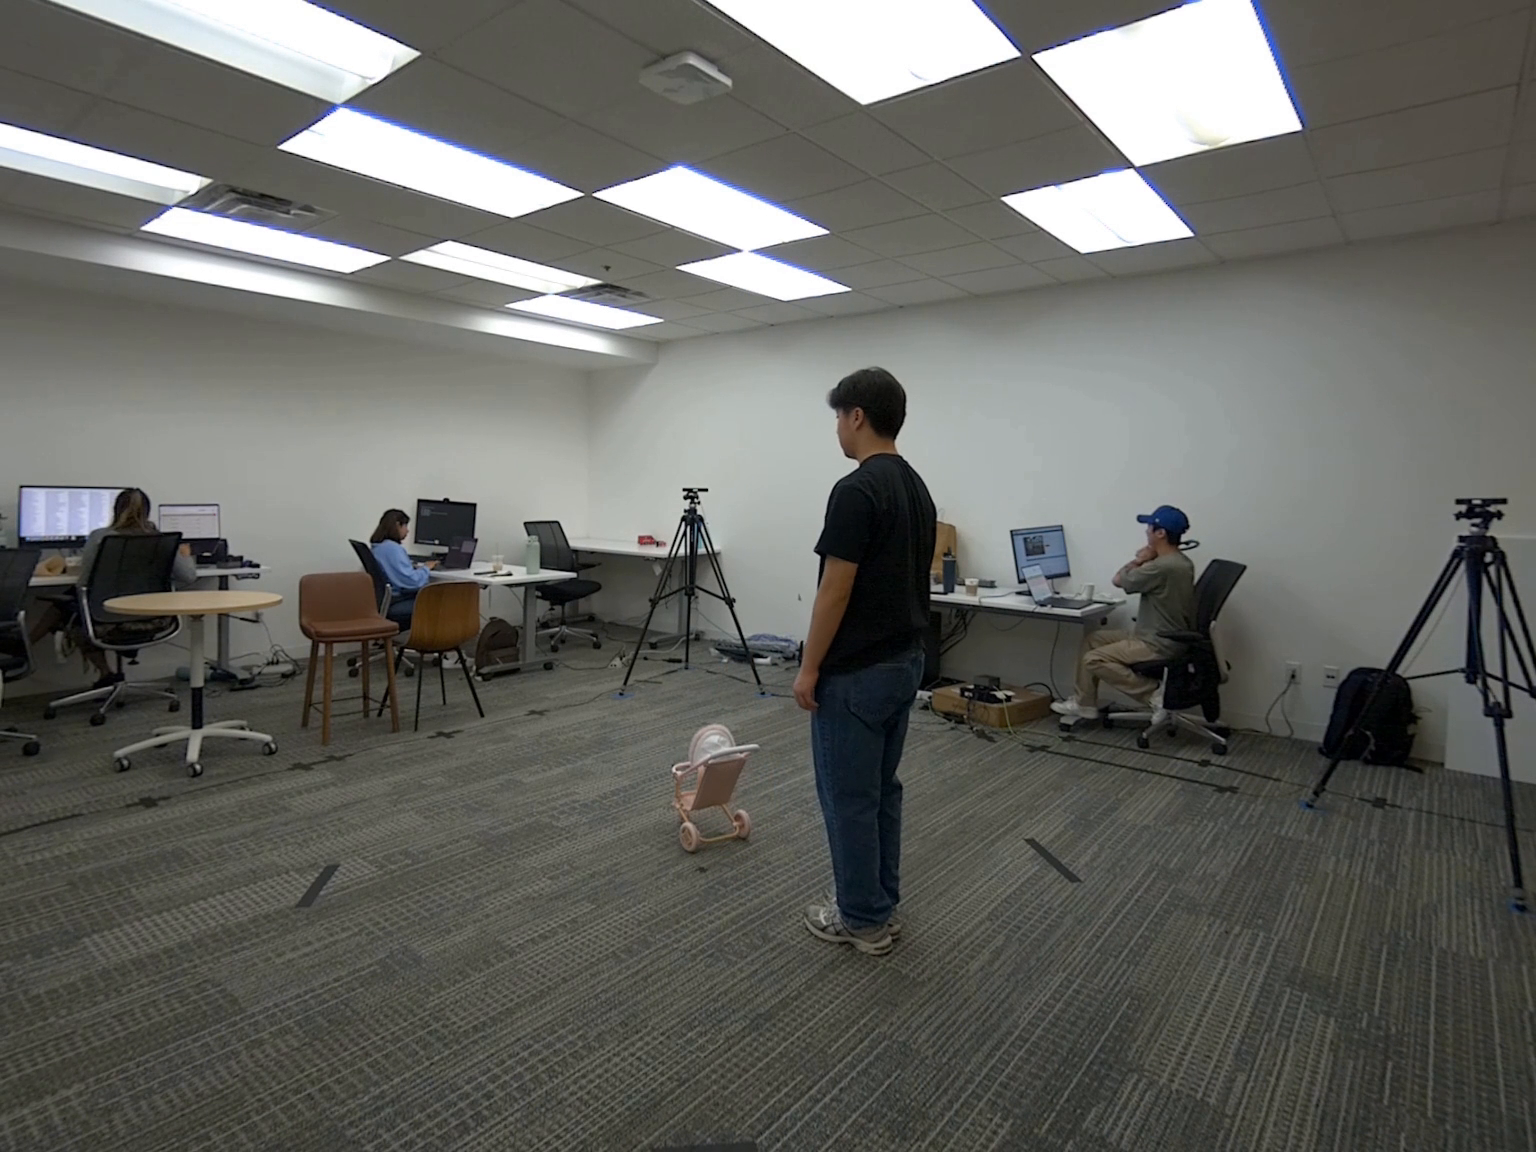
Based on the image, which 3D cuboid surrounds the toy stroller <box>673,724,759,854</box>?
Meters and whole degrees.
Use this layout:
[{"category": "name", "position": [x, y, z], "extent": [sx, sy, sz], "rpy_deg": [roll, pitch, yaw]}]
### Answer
[{"category": "toy stroller", "position": [-0.245, 0.820, 3.381], "extent": [0.274, 0.528, 0.355], "rpy_deg": [-1, 20, -31]}]
